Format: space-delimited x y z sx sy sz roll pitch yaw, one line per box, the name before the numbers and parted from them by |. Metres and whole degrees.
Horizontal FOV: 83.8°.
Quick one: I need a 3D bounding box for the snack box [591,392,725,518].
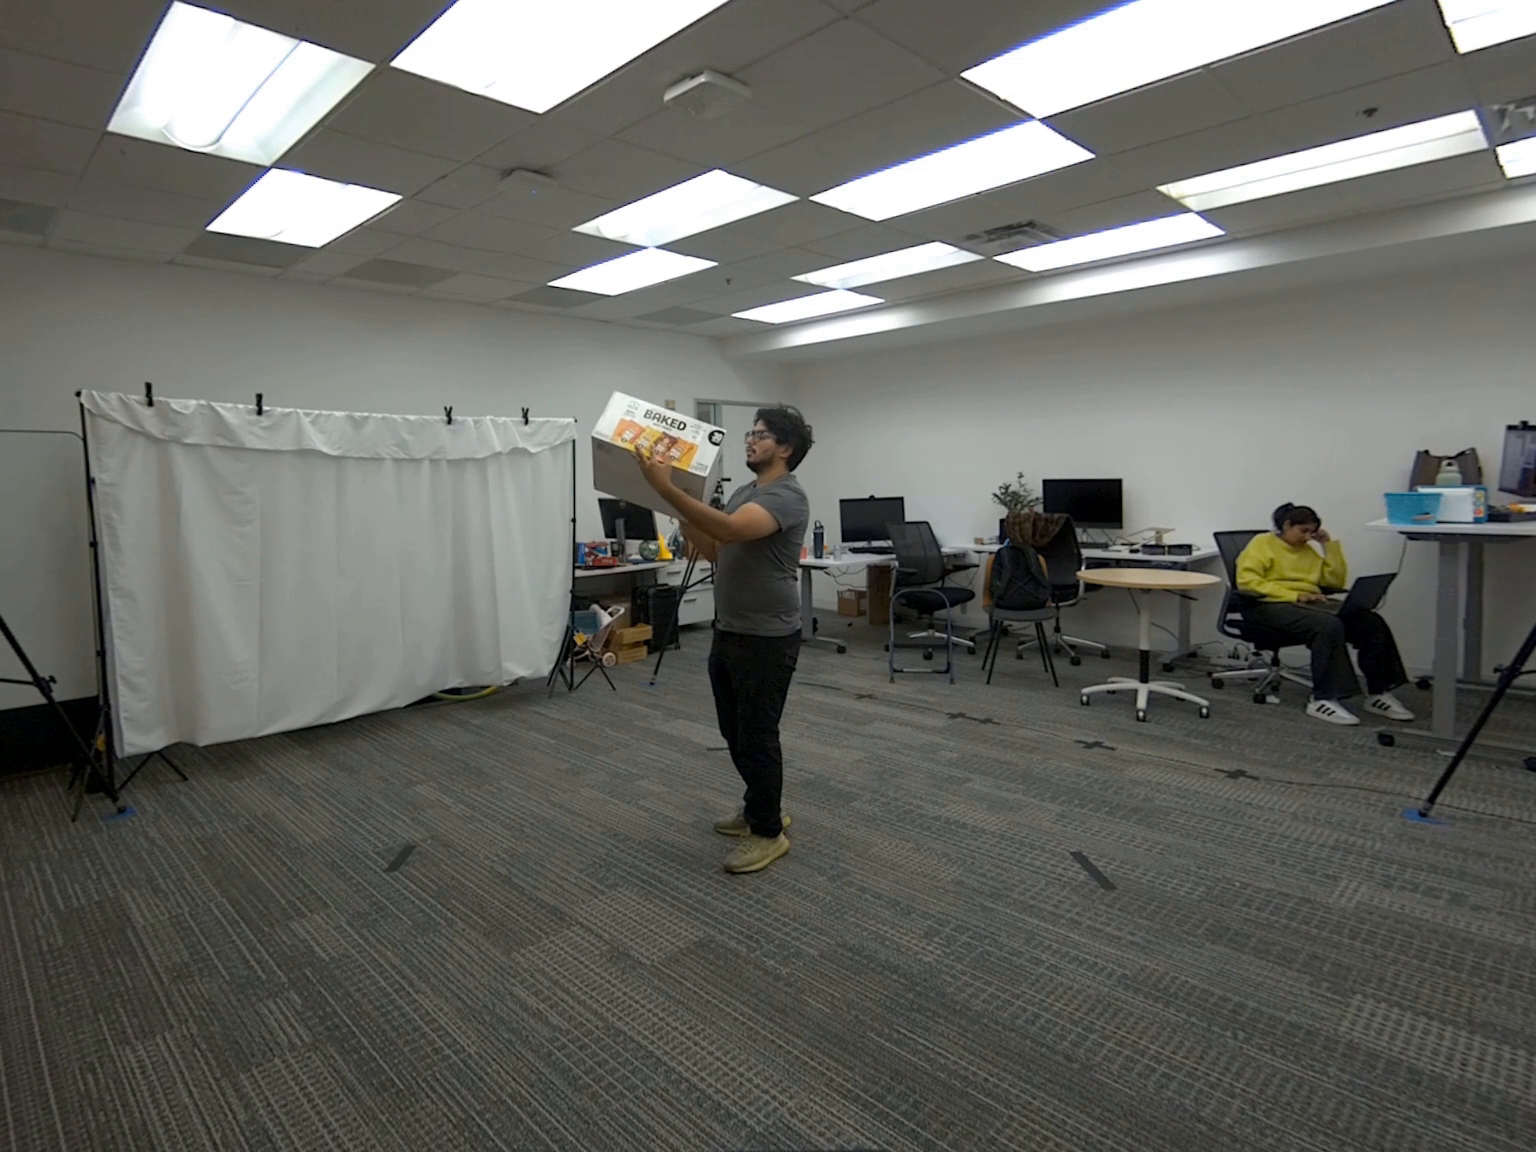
snack box | -0.382 -0.396 2.968 0.407 0.208 0.335 21 -28 3
